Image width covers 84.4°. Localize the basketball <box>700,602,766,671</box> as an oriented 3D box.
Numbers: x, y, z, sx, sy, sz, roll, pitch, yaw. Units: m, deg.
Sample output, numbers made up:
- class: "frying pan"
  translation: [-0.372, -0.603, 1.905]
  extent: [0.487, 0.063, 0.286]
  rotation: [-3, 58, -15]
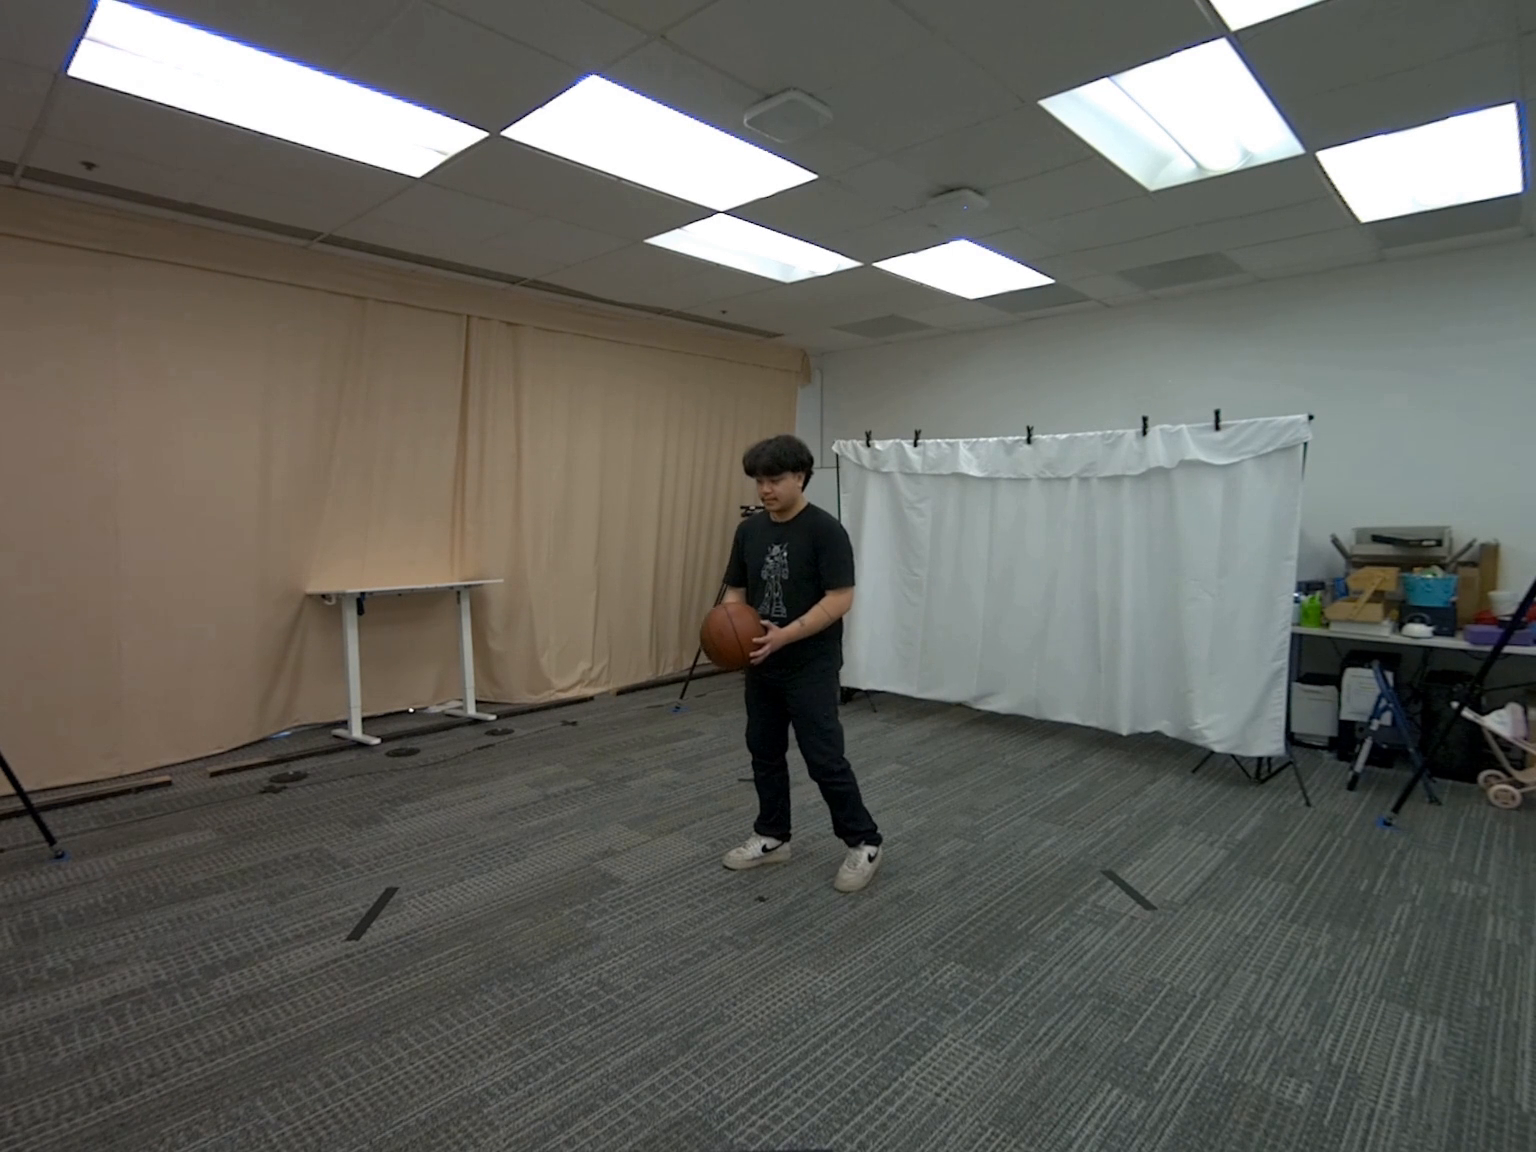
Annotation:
- class: "basketball"
  translation: [-0.121, 0.205, 2.969]
  extent: [0.236, 0.235, 0.237]
  rotation: [0, 4, -2]
